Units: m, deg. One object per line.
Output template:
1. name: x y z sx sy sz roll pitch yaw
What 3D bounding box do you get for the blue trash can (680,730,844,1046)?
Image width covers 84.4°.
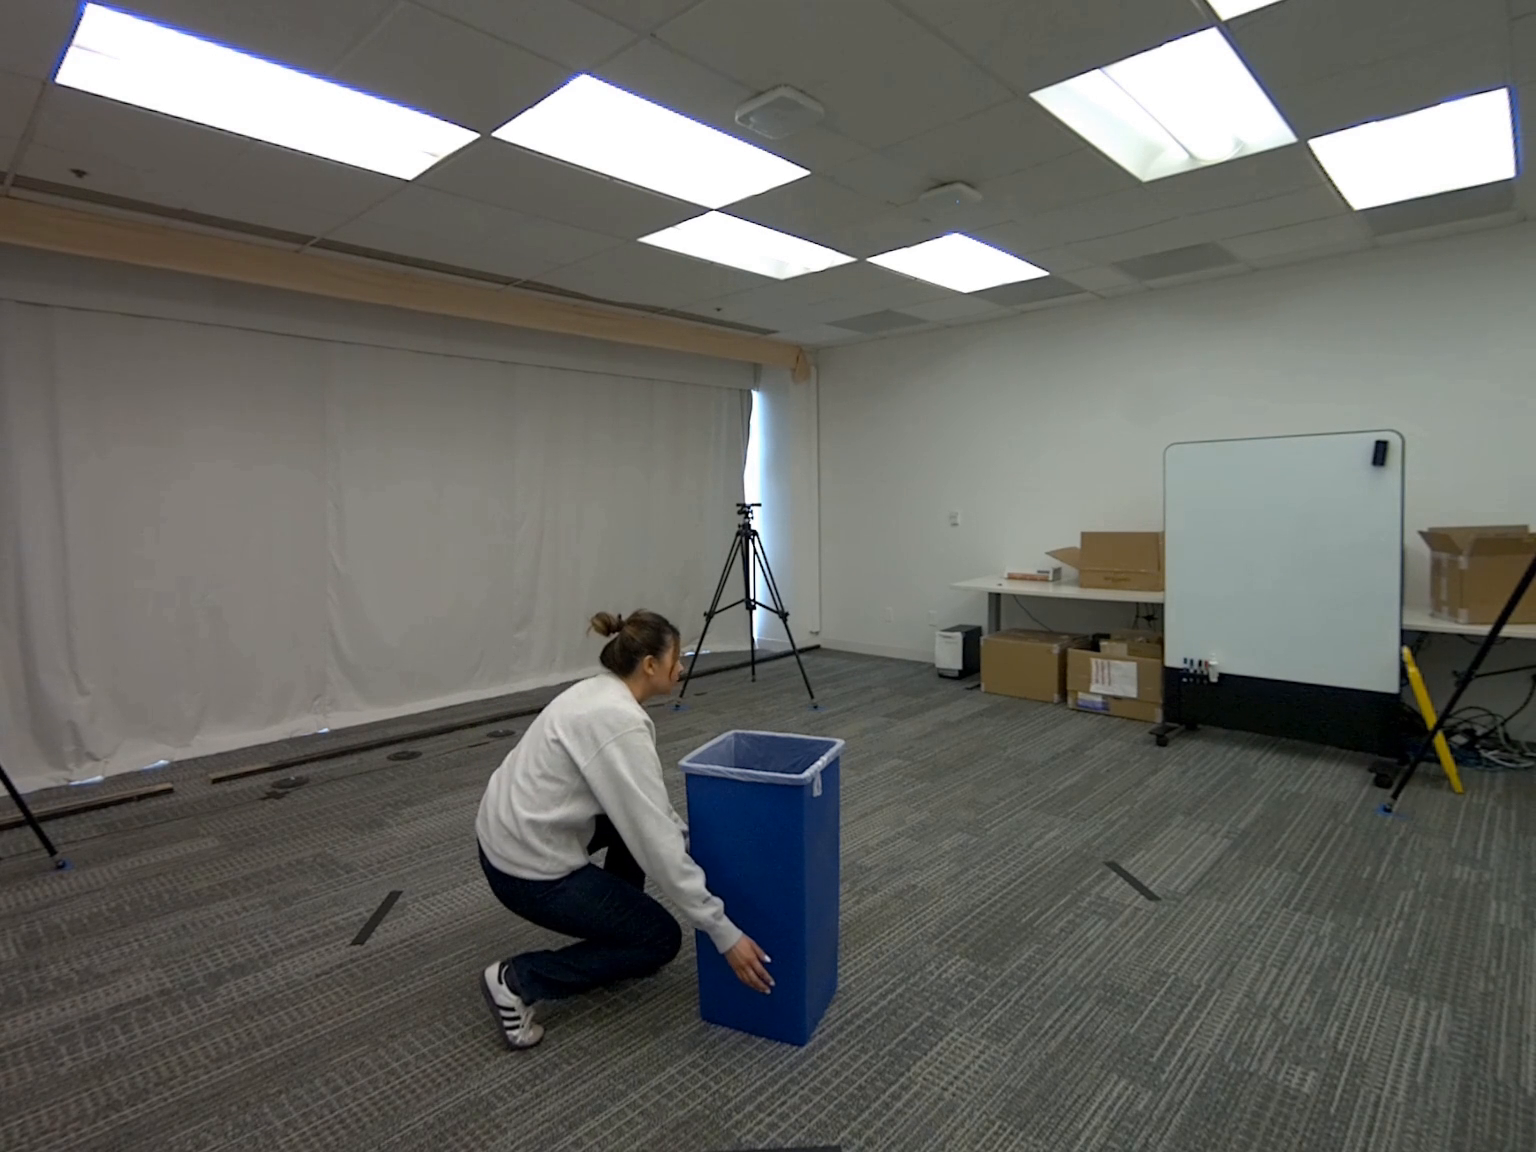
1. blue trash can: -0.003 0.837 2.324 0.383 0.712 0.370 1 3 24
